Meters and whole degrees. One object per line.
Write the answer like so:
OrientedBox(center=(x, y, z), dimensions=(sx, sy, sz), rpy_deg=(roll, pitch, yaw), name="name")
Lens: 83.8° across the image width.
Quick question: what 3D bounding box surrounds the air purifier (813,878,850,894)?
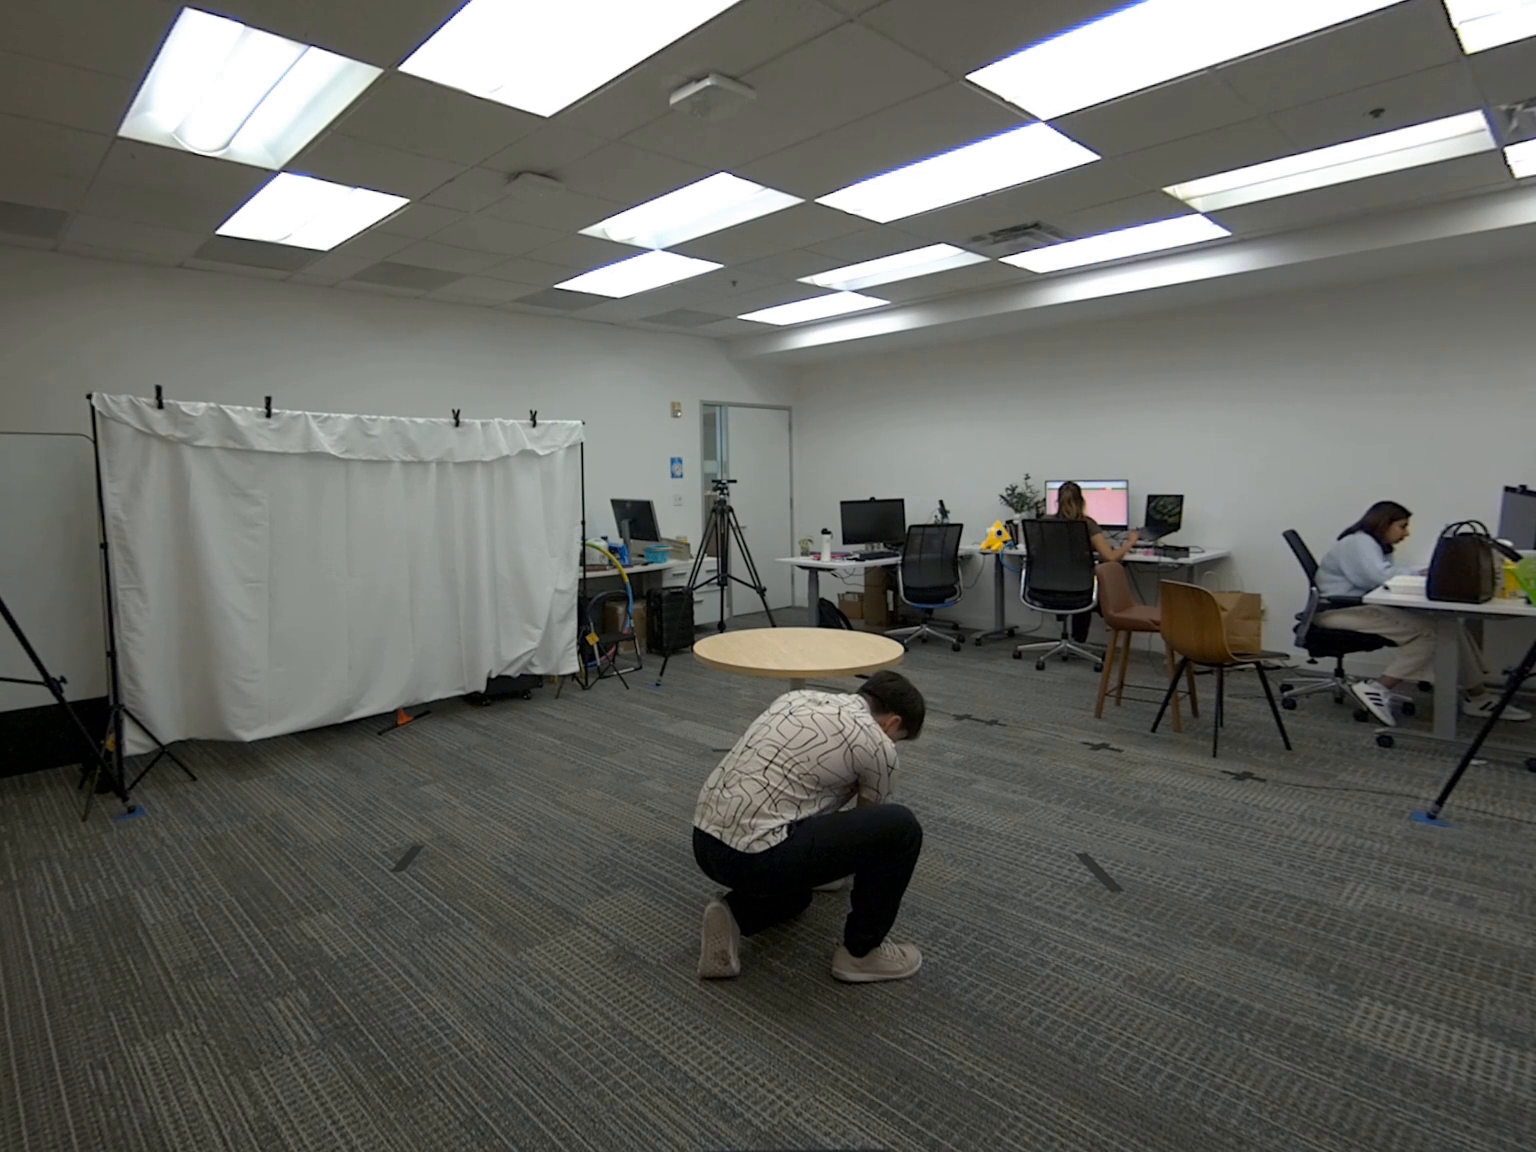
OrientedBox(center=(0.186, 0.928, 2.955), dimensions=(0.171, 0.264, 0.172), rpy_deg=(-2, 4, 2), name="air purifier")
